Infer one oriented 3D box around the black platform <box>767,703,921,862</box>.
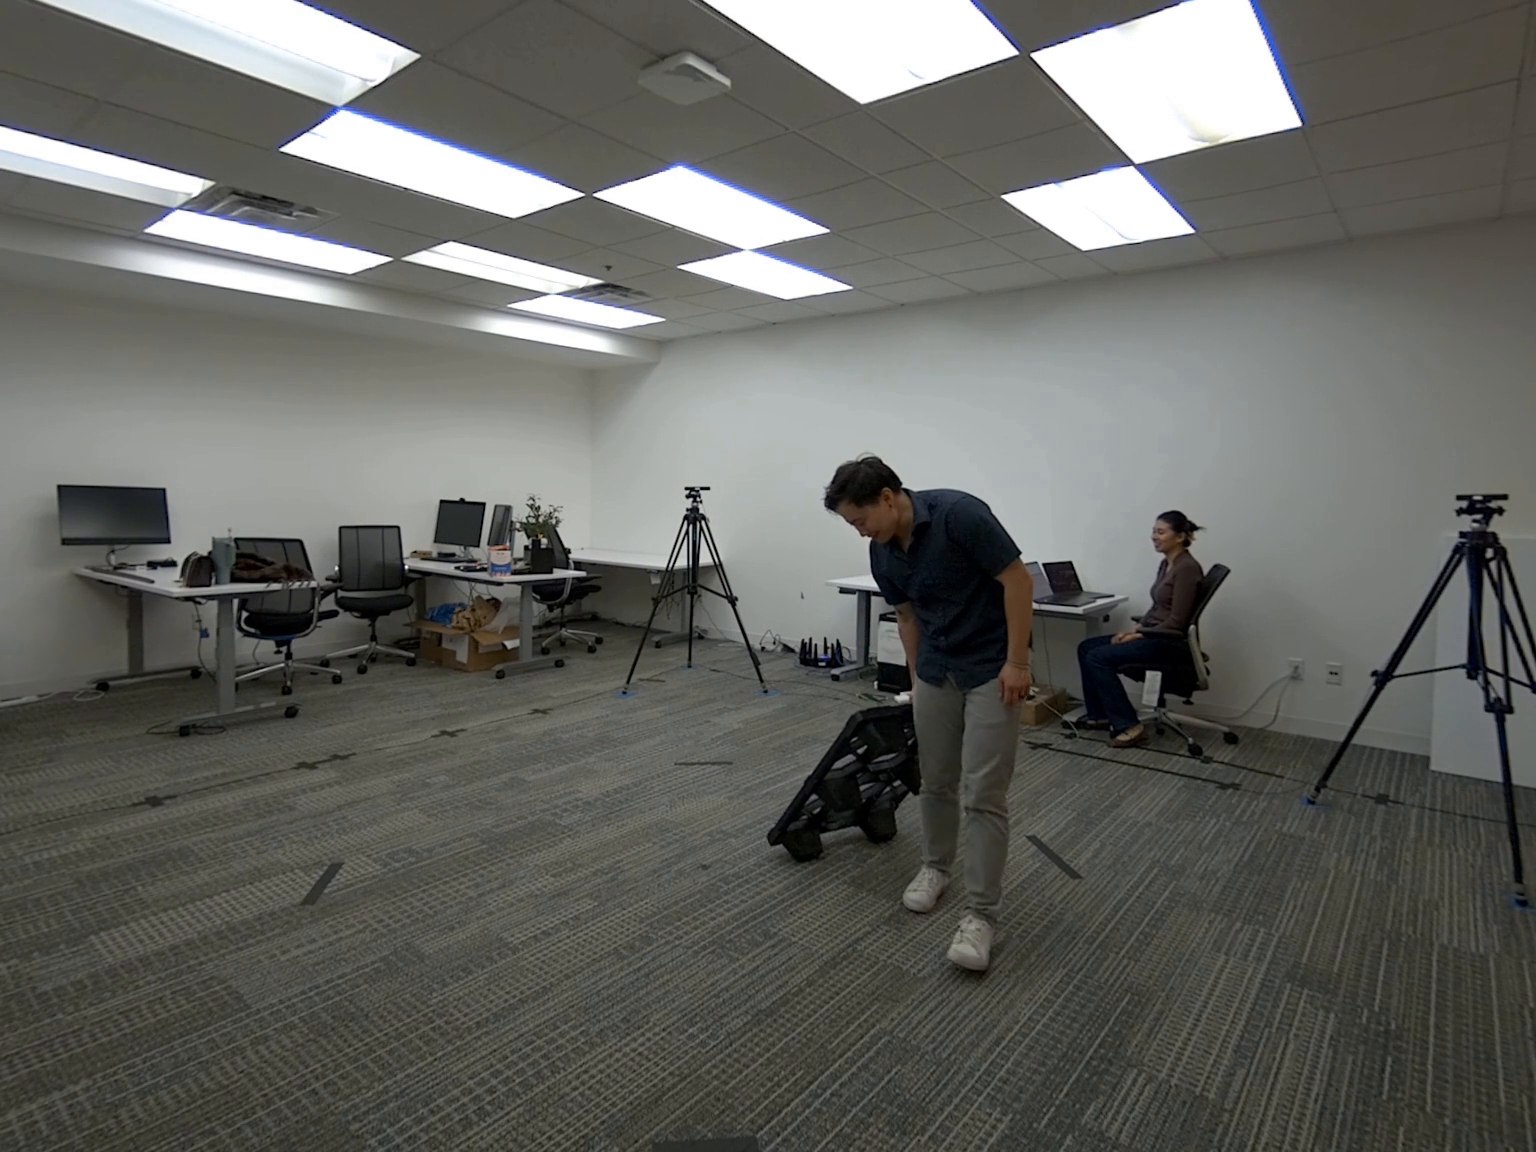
[{"bbox_3d":[0.407,0.753,3.114,0.588,0.796,0.149,-1,44,-32],"label":"black platform"}]
